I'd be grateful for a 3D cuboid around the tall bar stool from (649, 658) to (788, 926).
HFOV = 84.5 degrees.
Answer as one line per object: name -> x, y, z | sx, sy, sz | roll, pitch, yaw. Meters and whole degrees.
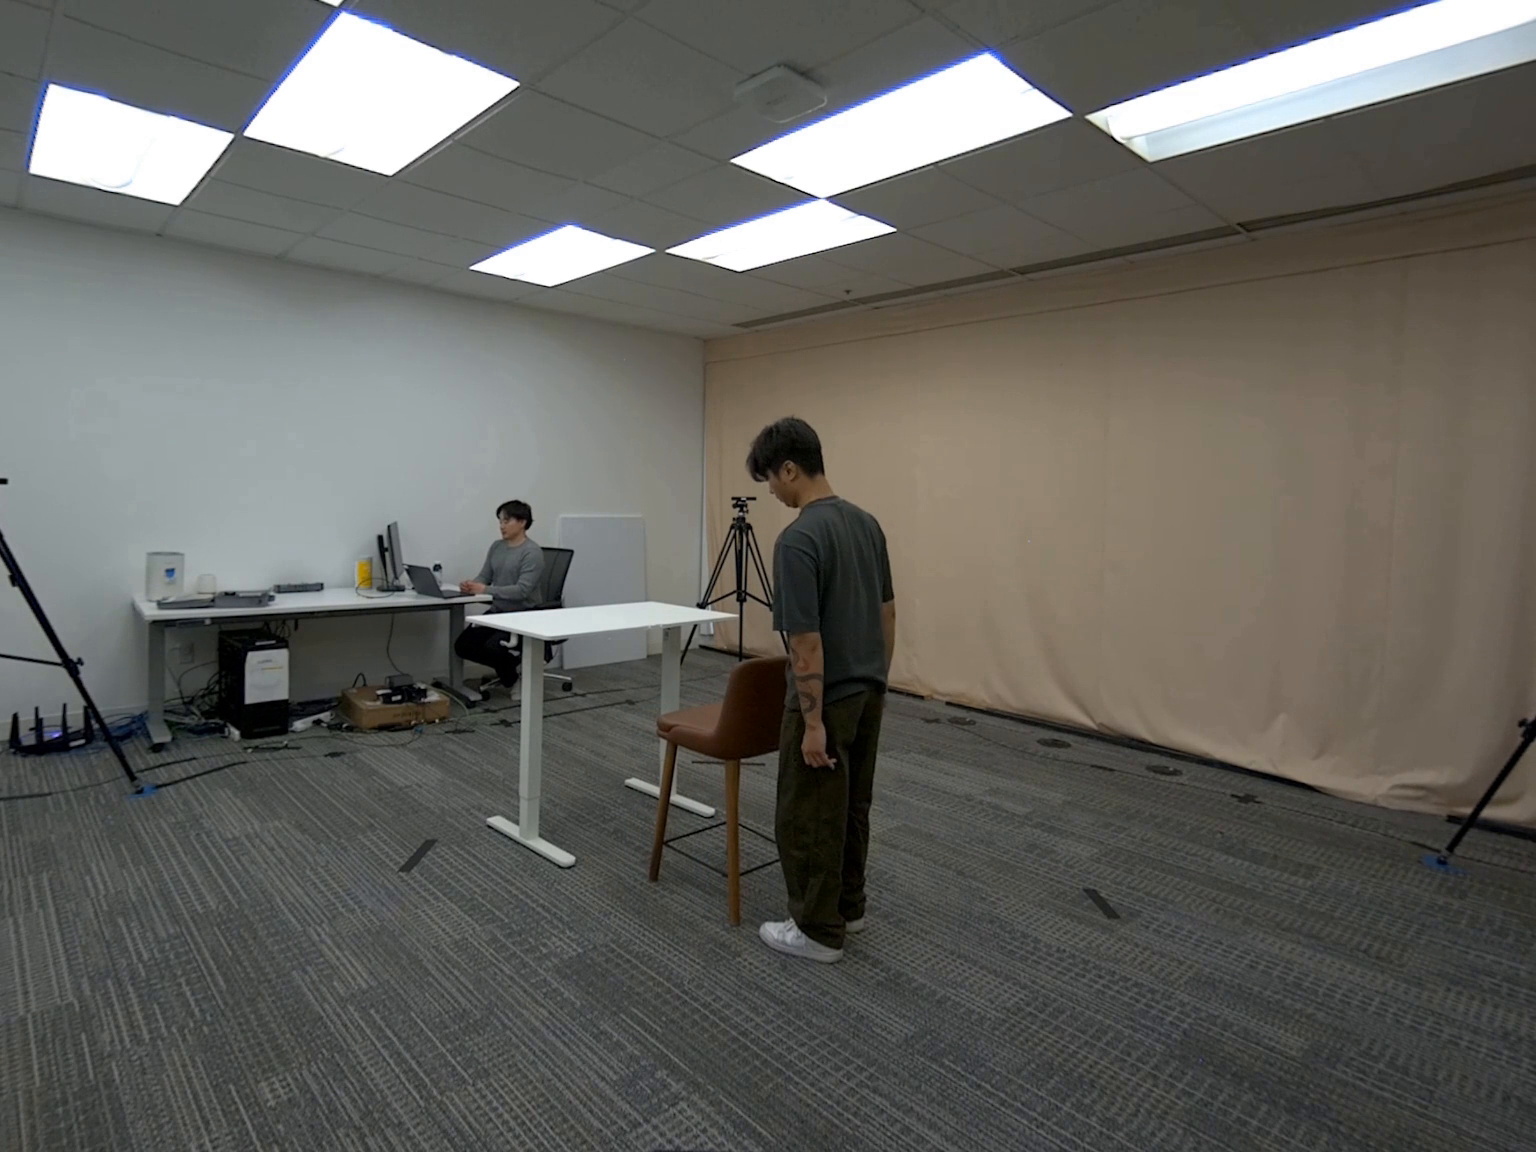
tall bar stool -> -0.121, 0.680, 2.991 | 0.446, 0.887, 0.480 | -2, 7, -44
